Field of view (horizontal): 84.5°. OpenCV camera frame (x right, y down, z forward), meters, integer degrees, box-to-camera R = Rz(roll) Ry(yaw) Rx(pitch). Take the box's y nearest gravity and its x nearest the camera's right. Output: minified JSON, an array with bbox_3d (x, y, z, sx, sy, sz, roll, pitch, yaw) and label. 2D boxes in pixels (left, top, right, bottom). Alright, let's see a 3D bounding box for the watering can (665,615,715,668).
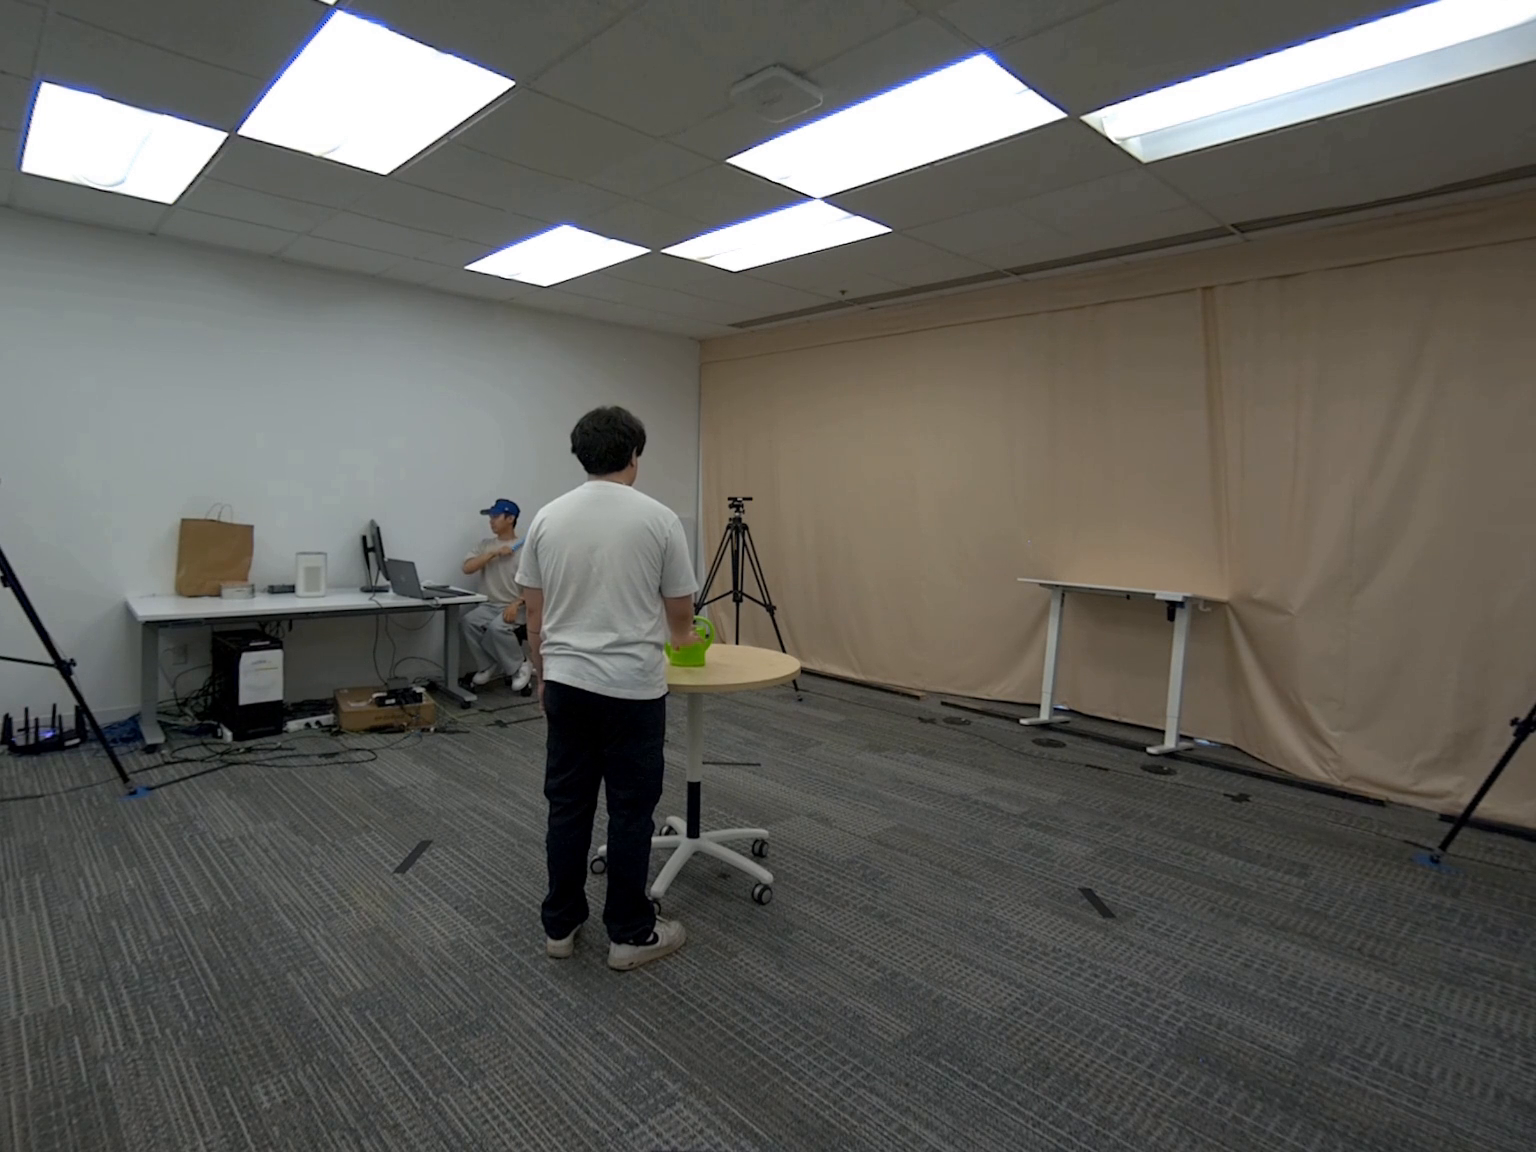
[{"bbox_3d":[-0.337,0.236,3.032,0.281,0.176,0.097,3,5,12],"label":"watering can"}]
